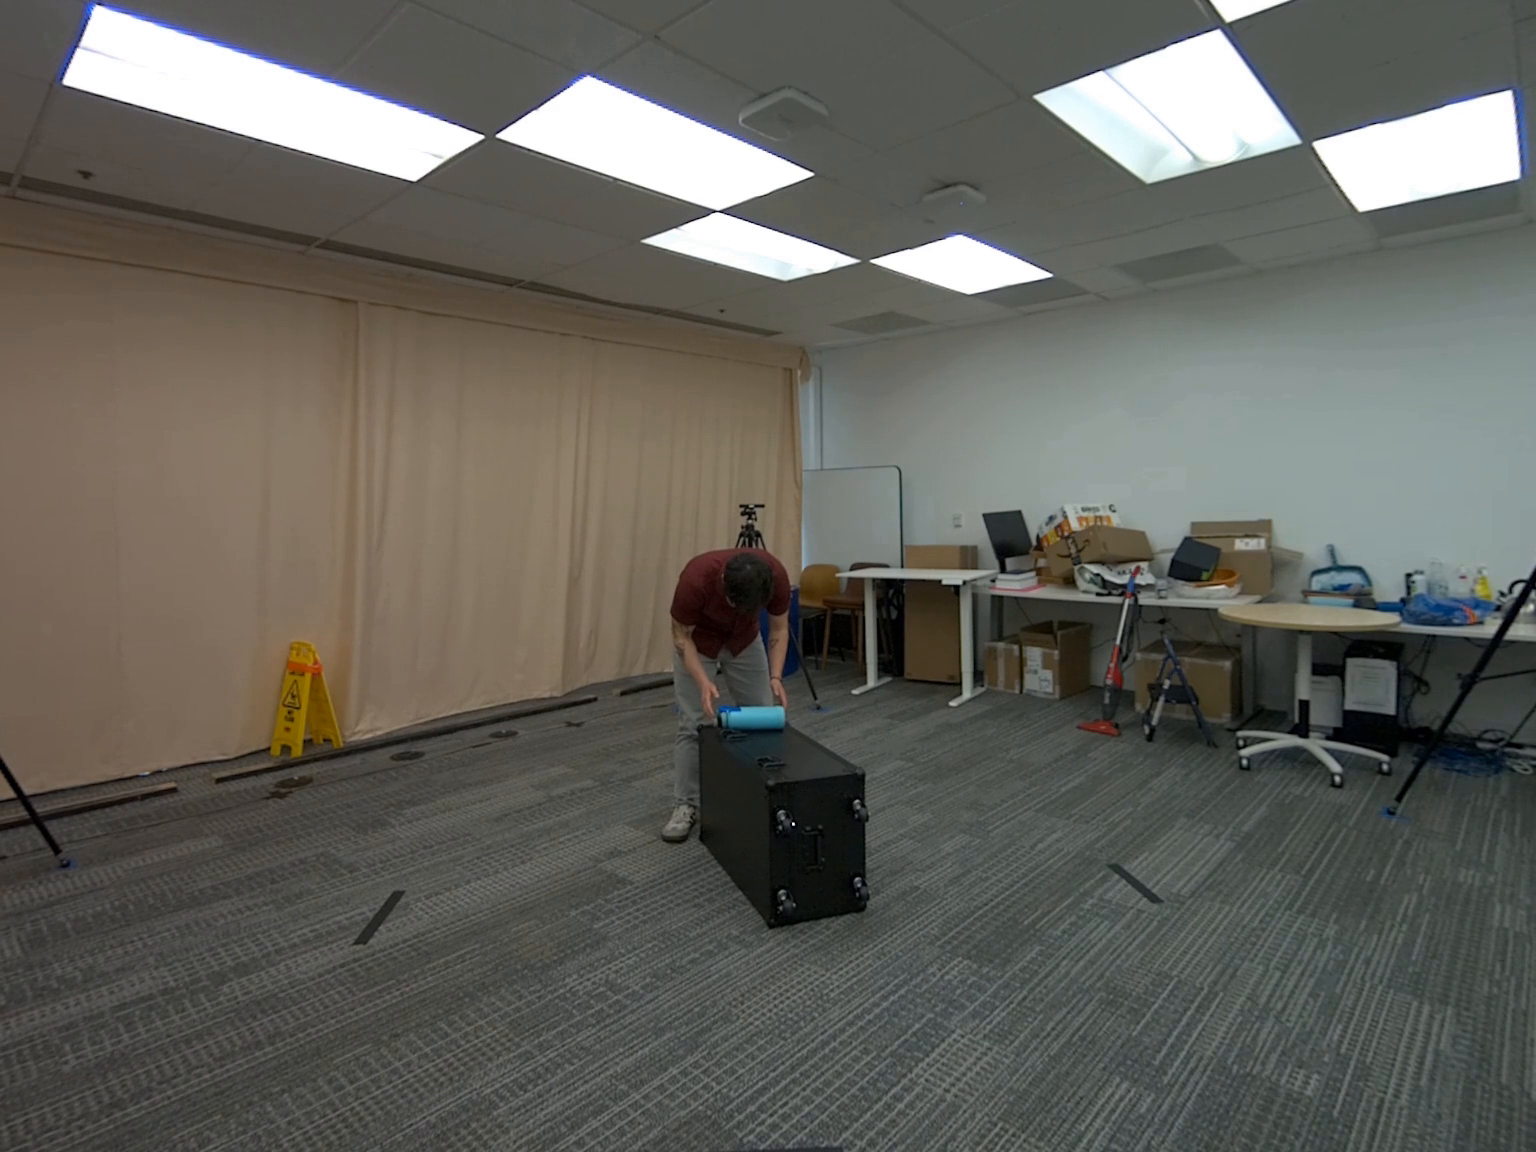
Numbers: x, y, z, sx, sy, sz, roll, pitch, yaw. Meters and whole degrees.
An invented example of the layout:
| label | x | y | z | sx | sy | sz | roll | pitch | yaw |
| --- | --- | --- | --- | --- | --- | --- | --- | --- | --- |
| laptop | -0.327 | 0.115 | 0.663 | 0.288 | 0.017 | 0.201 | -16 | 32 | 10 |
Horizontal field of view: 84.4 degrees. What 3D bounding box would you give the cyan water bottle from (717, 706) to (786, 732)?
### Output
| label | x | y | z | sx | sy | sz | roll | pitch | yaw |
| --- | --- | --- | --- | --- | --- | --- | --- | --- | --- |
| cyan water bottle | -0.066 | 0.572 | 3.396 | 0.282 | 0.092 | 0.093 | 1 | 4 | -5 |
